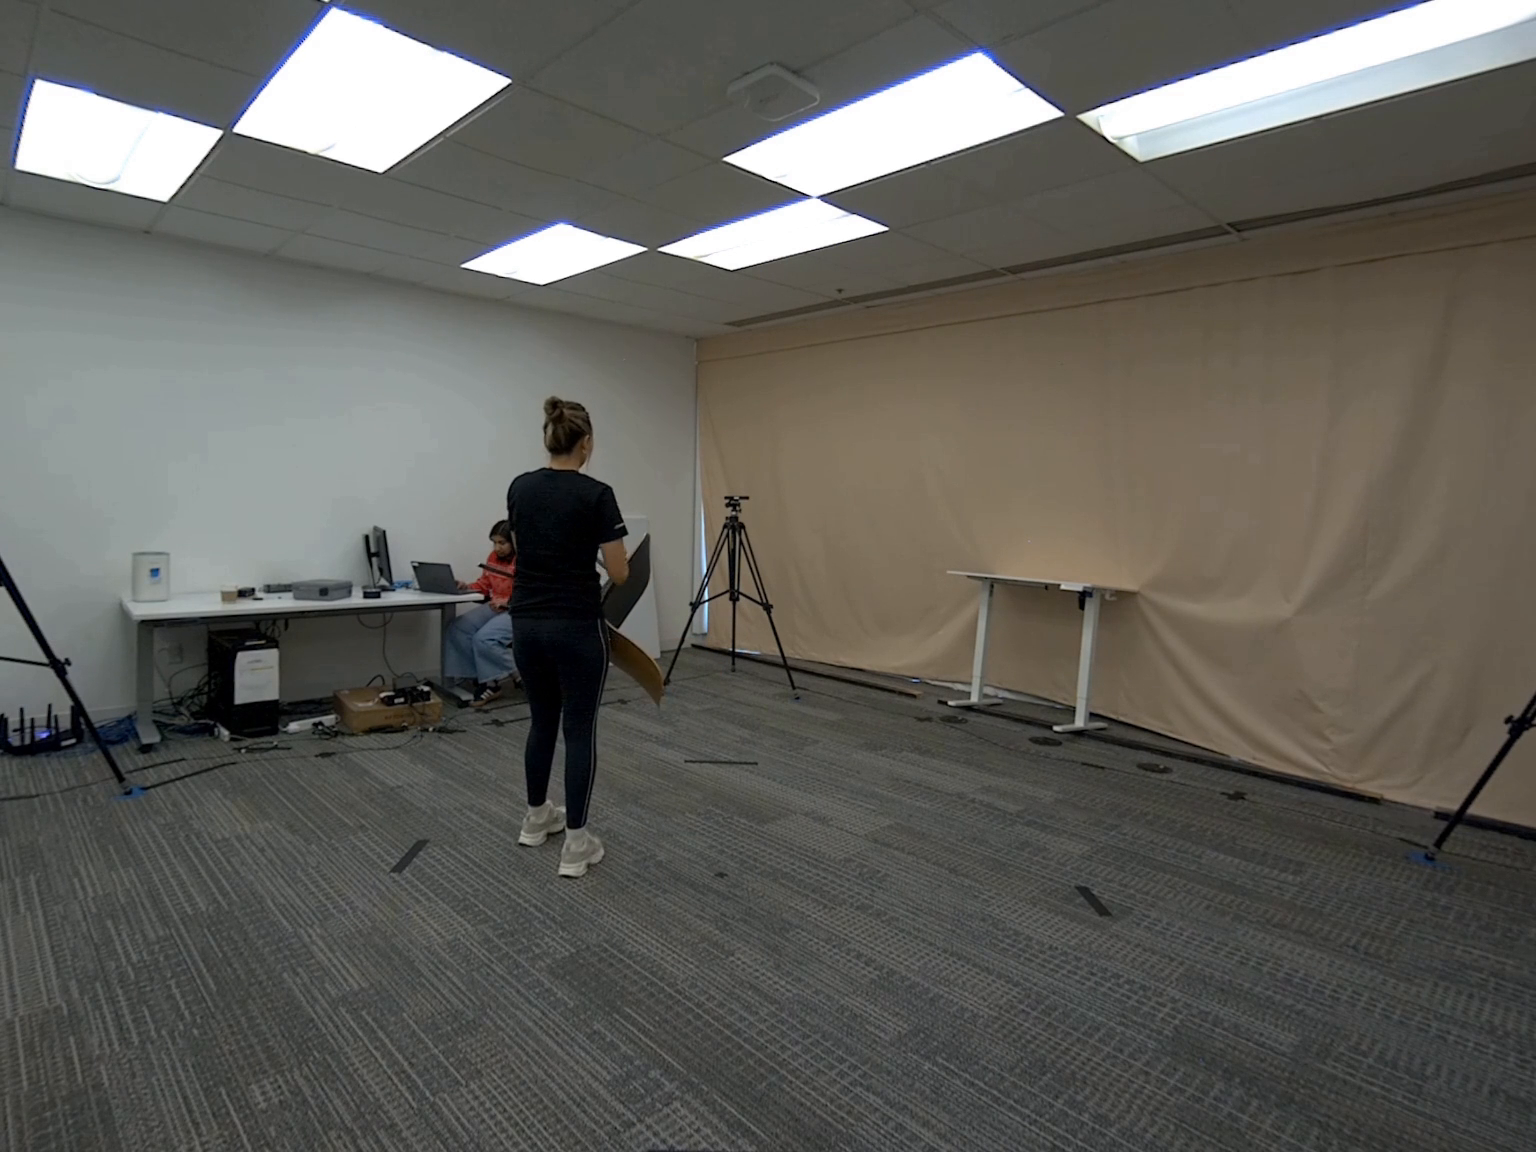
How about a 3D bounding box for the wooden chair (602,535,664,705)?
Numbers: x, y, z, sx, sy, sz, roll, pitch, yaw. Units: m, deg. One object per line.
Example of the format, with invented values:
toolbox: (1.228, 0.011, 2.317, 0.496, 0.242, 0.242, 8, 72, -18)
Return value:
wooden chair: (-0.653, 0.076, 3.425, 0.888, 0.524, 0.471, 33, -24, 10)
